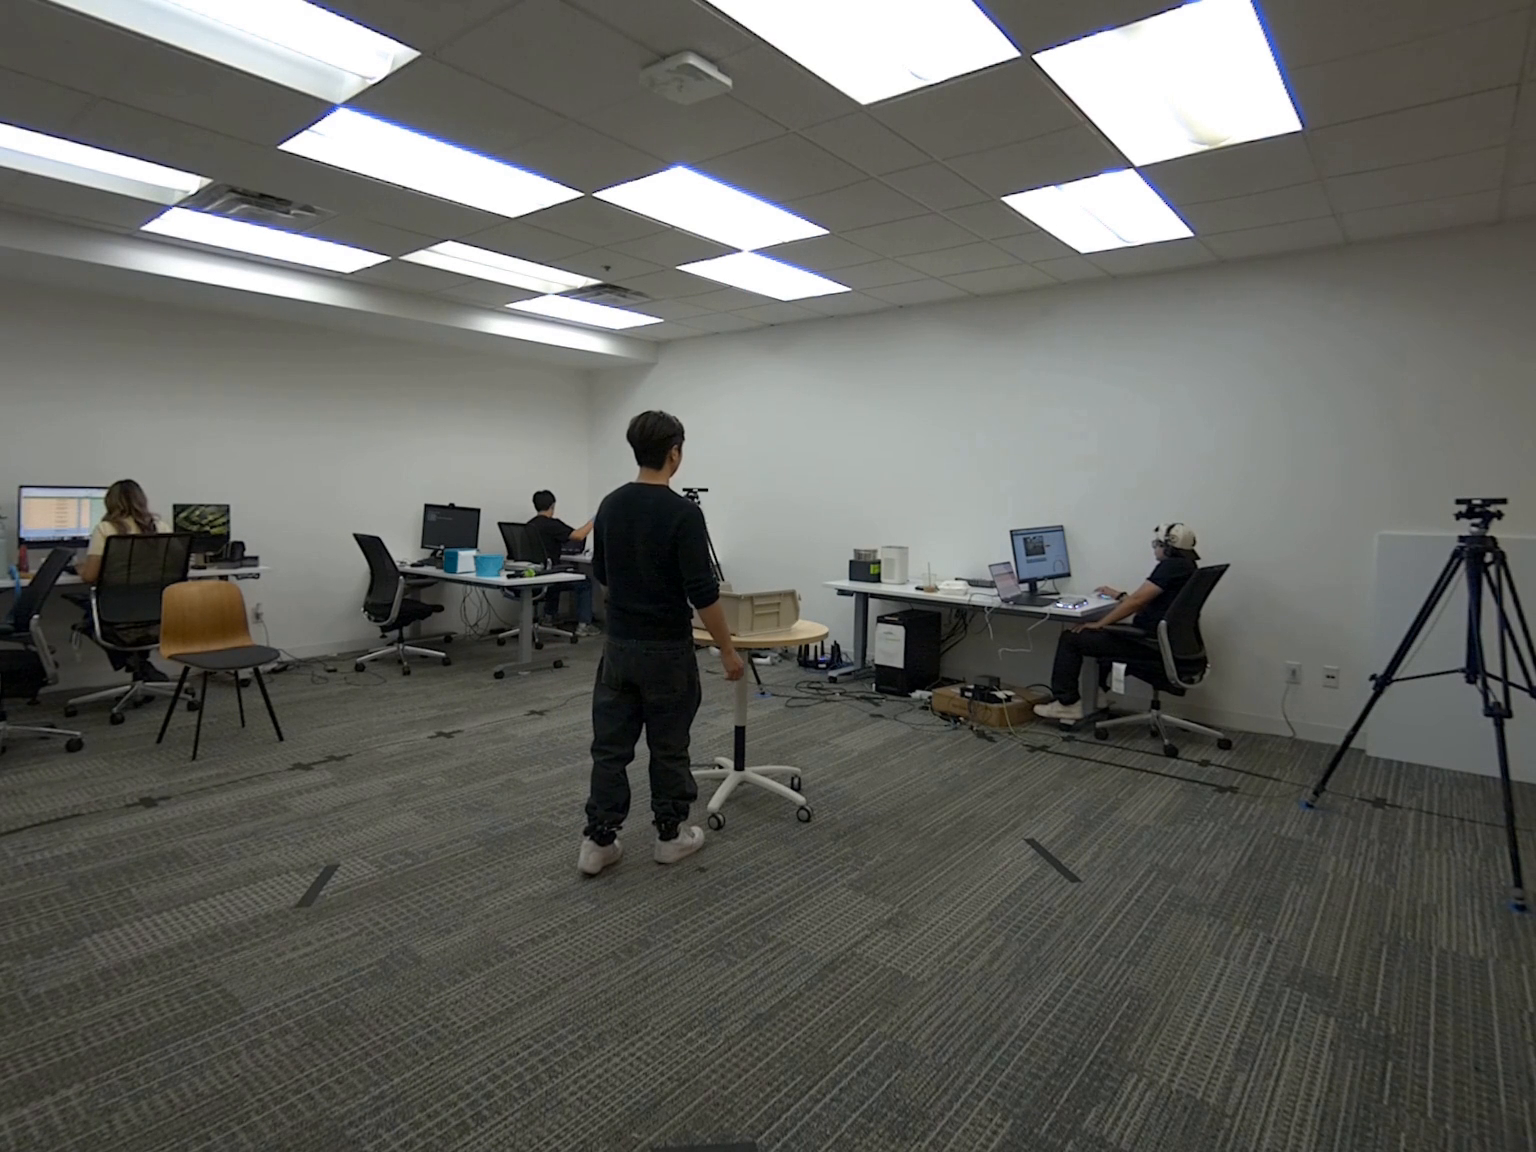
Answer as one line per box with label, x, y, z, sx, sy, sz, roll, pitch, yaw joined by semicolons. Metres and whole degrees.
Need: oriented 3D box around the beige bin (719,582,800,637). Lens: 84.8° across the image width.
beige bin;-0.149;0.133;3.751;0.366;0.188;0.437;-6;9;-45
